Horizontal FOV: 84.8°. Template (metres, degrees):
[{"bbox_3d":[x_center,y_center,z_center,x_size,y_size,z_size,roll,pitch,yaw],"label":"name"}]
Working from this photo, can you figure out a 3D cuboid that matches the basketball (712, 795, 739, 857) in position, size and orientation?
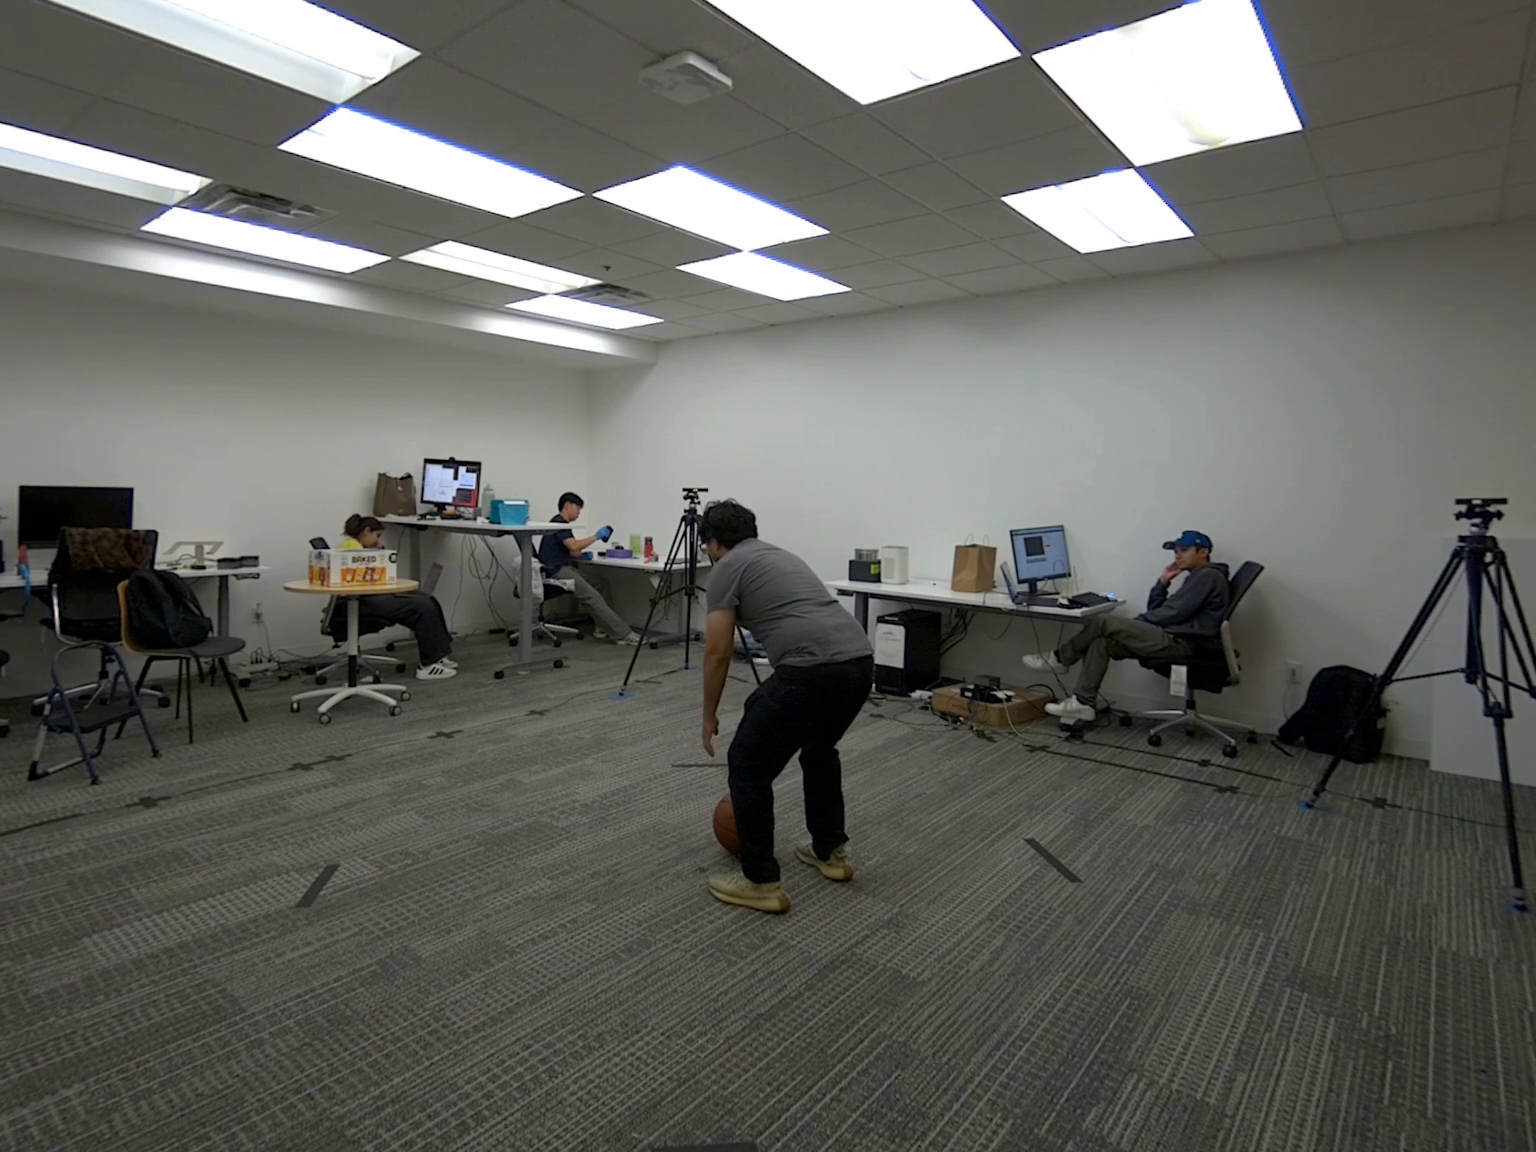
[{"bbox_3d":[-0.105,0.936,3.252,0.235,0.235,0.237,1,4,-2],"label":"basketball"}]
